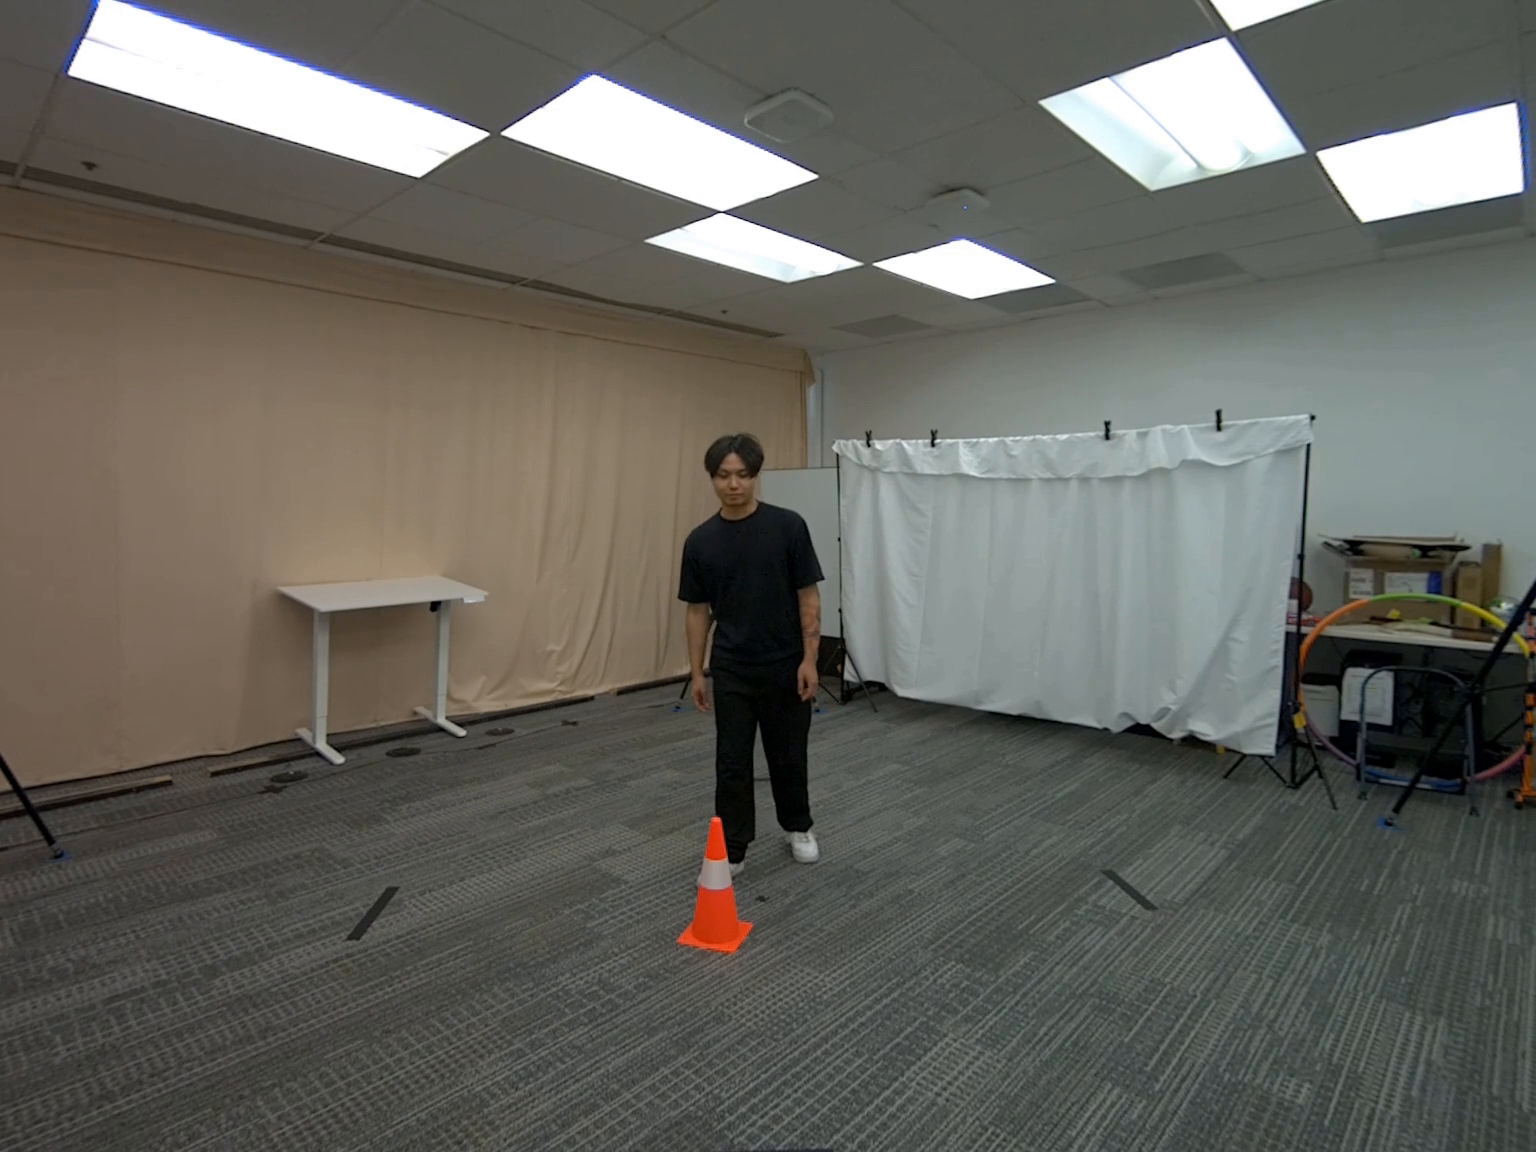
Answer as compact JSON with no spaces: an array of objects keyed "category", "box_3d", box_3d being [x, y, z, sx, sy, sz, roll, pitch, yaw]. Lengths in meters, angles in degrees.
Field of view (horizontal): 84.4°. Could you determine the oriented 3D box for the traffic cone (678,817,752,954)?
[{"category":"traffic cone","box_3d":[-0.172,0.974,2.742,0.209,0.383,0.199,0,2,21]}]
